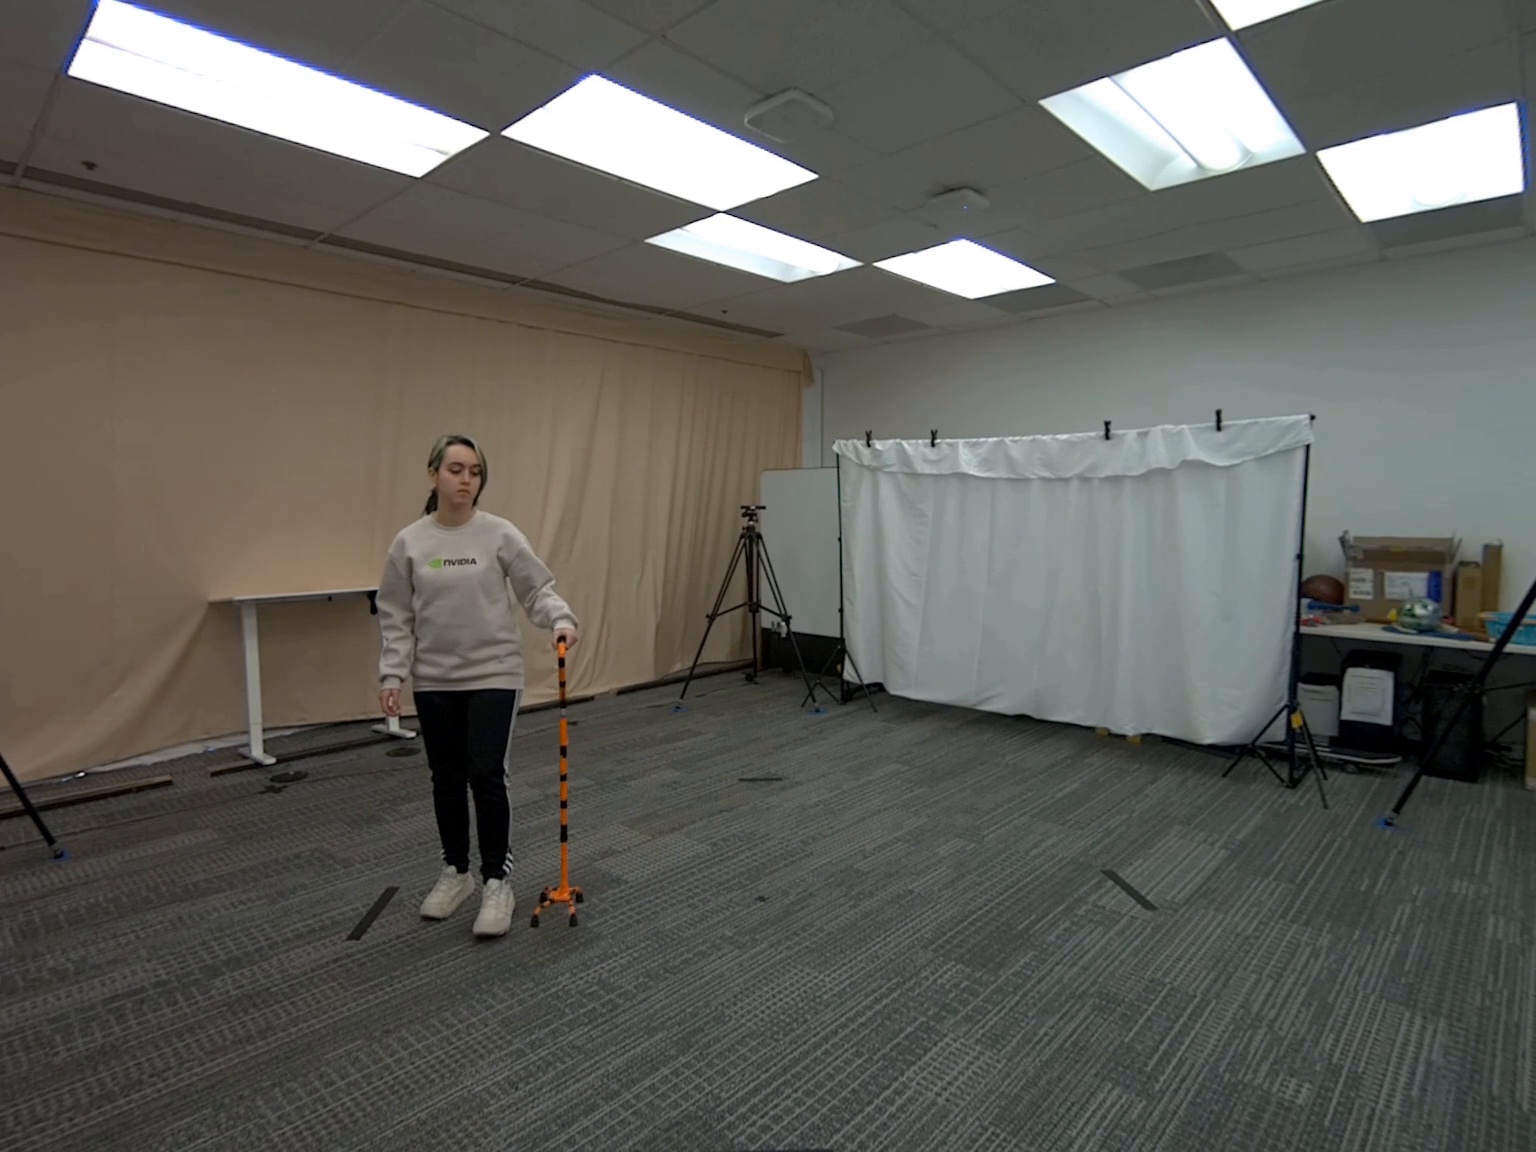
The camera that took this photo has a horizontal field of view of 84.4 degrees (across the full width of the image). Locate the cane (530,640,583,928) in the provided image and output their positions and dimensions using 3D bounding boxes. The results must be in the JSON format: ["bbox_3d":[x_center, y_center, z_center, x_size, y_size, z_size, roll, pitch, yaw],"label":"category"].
[{"bbox_3d":[-0.680,0.665,2.753,0.151,0.908,0.206,2,0,-1],"label":"cane"}]
